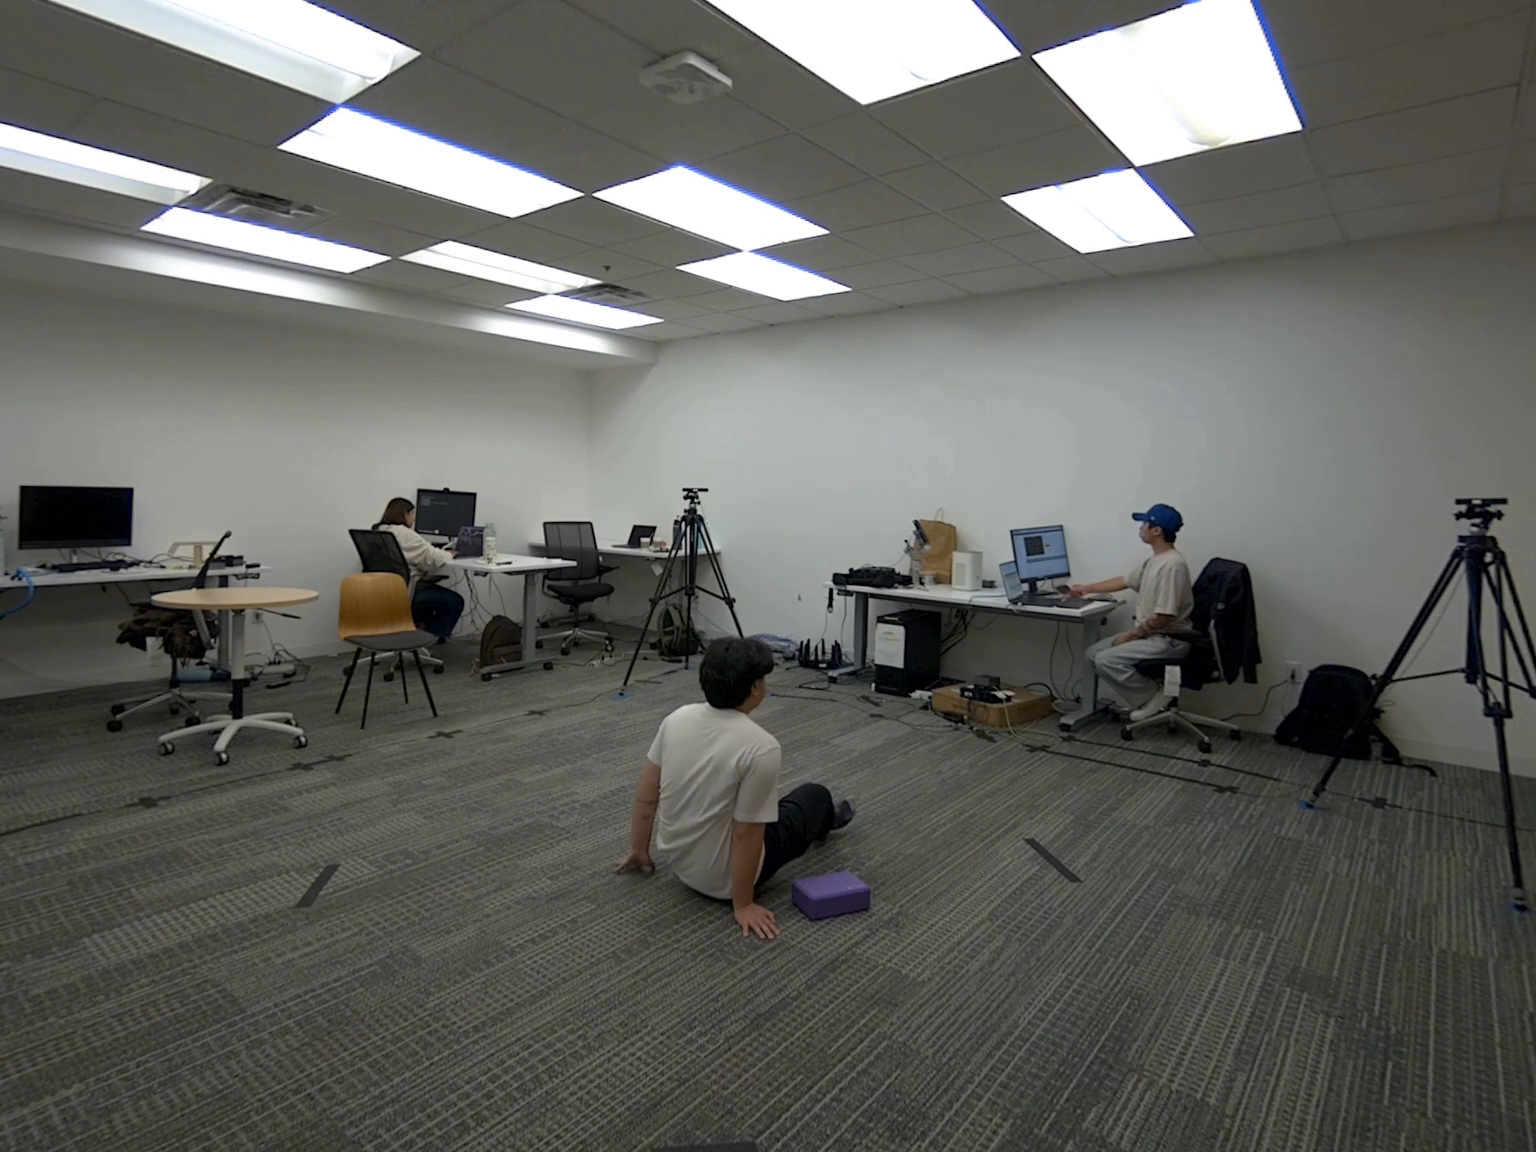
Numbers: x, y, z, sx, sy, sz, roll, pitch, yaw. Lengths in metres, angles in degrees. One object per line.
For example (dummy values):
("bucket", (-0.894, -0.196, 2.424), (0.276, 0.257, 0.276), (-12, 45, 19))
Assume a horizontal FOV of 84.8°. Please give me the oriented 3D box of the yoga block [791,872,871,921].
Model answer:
("yoga block", (0.203, 1.068, 2.848), (0.224, 0.076, 0.153), (-1, 5, -25))
